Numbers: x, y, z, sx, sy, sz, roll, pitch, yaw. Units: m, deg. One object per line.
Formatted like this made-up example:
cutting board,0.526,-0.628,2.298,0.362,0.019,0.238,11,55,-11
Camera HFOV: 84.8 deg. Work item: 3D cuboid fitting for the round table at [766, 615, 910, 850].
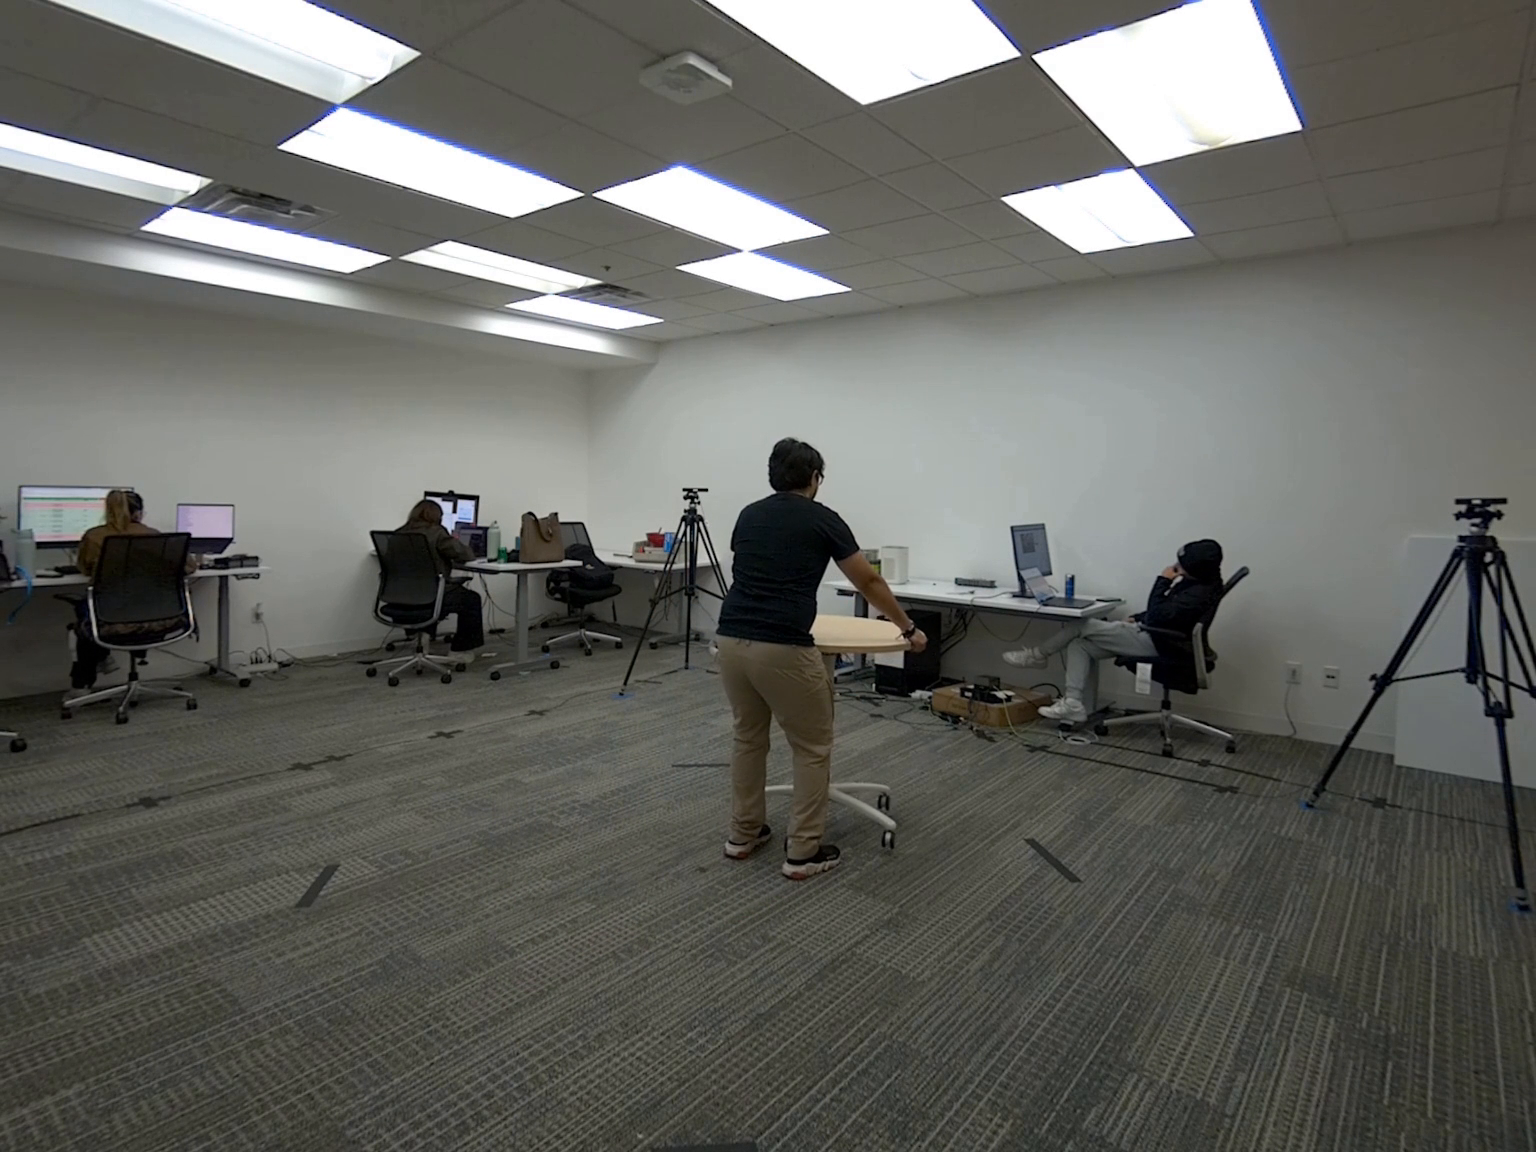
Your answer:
round table,0.215,0.605,3.532,0.784,0.784,0.789,2,4,-2
